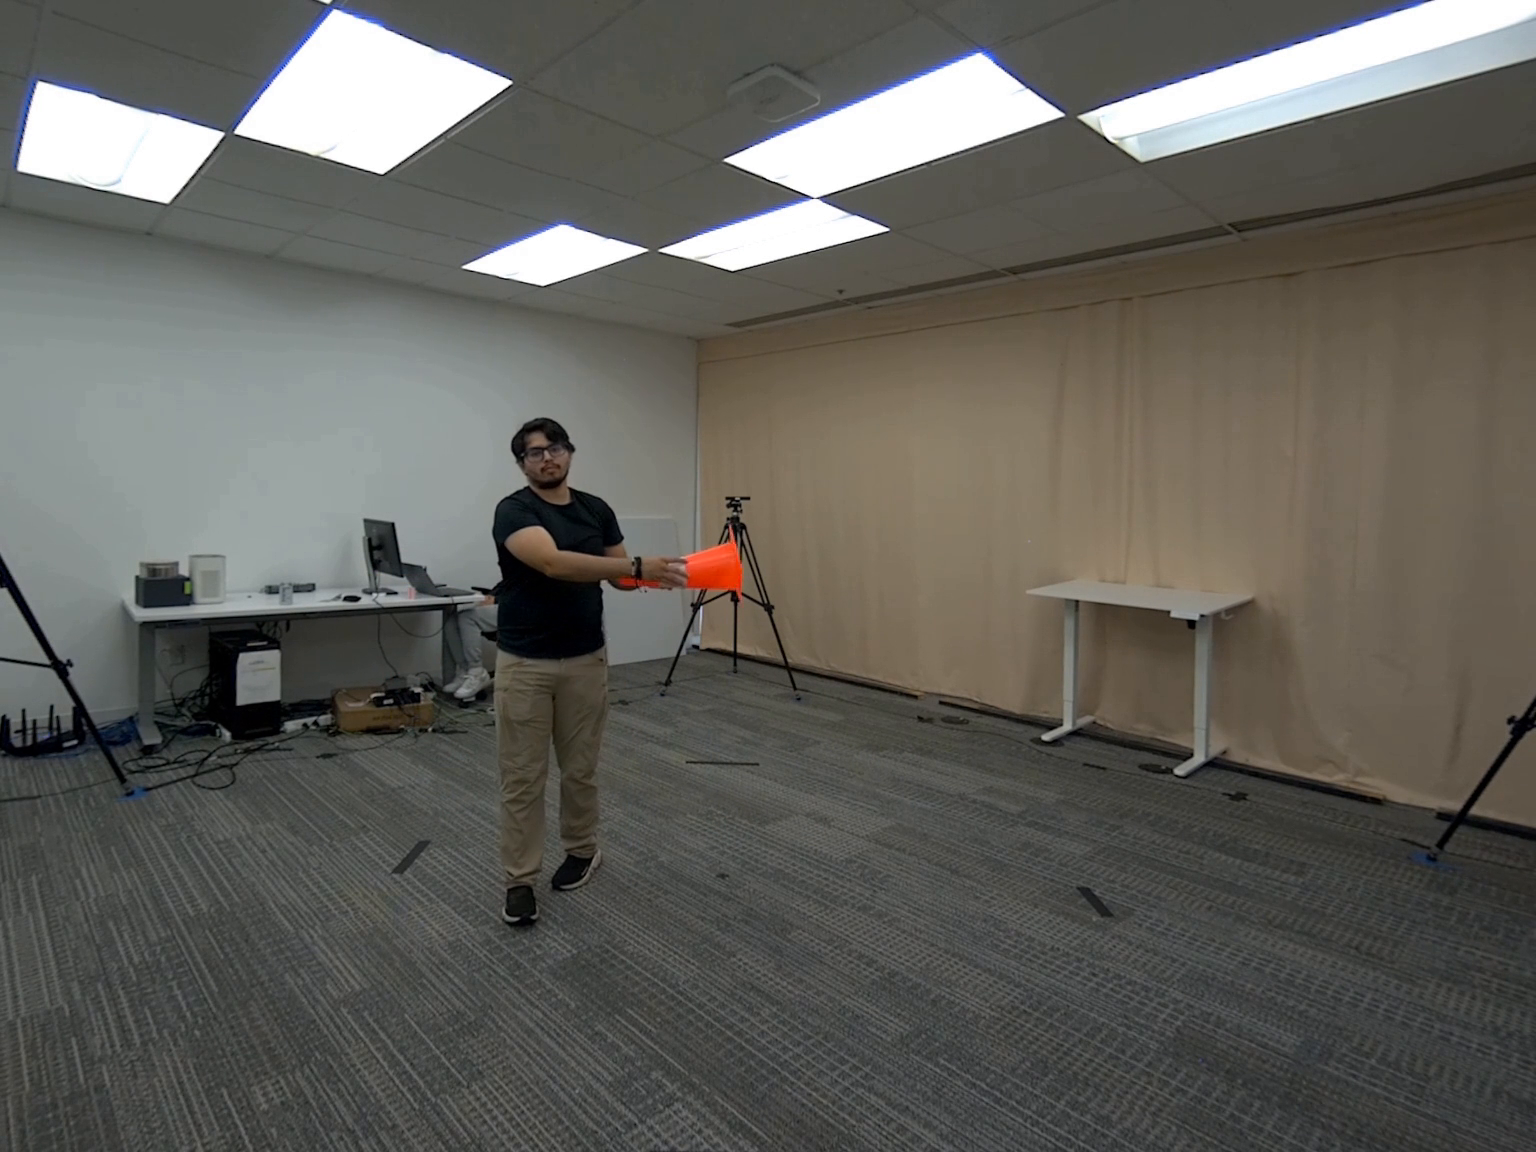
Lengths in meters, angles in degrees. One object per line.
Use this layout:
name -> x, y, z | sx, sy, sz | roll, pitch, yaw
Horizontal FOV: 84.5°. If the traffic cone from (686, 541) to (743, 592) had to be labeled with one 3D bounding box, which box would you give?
traffic cone -> -0.303, 0.011, 2.710 | 0.384, 0.210, 0.198 | -12, -36, 2
